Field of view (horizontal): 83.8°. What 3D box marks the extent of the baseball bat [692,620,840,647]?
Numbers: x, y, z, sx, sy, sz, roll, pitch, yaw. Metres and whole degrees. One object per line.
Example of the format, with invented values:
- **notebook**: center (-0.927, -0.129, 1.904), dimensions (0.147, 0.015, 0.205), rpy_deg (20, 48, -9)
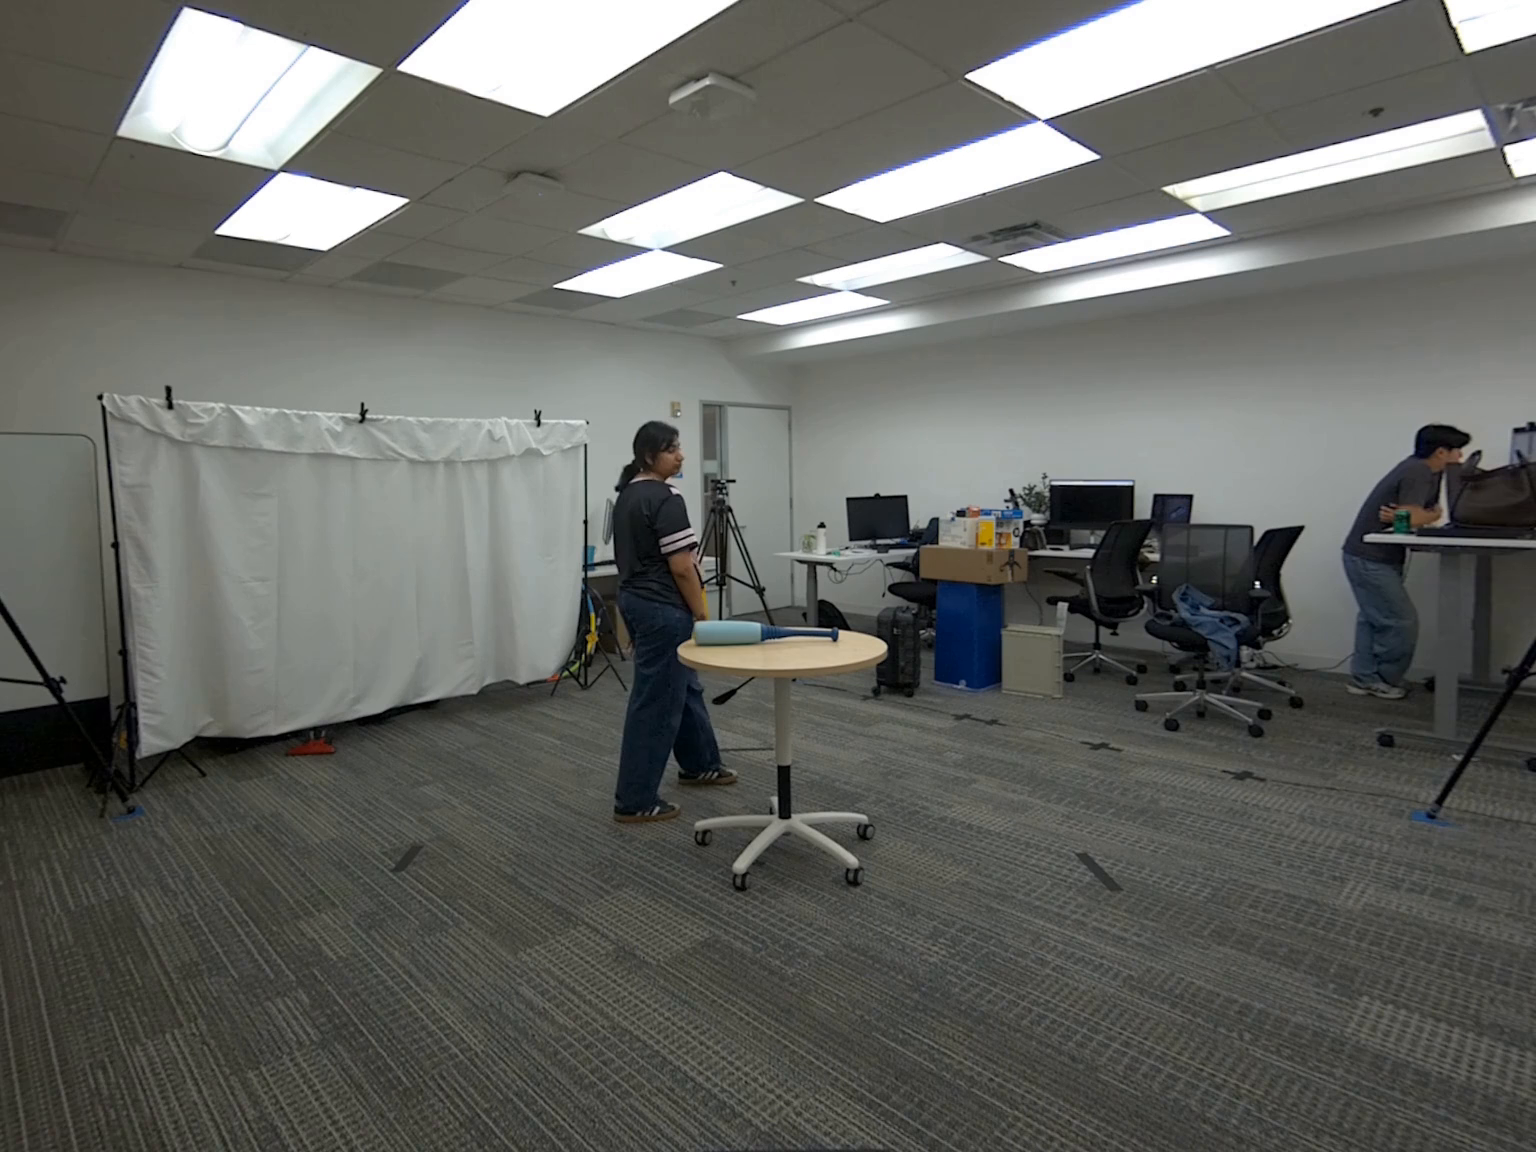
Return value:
- **baseball bat**: center (-0.004, 0.214, 3.195), dimensions (0.542, 0.089, 0.089), rpy_deg (0, 5, -2)
